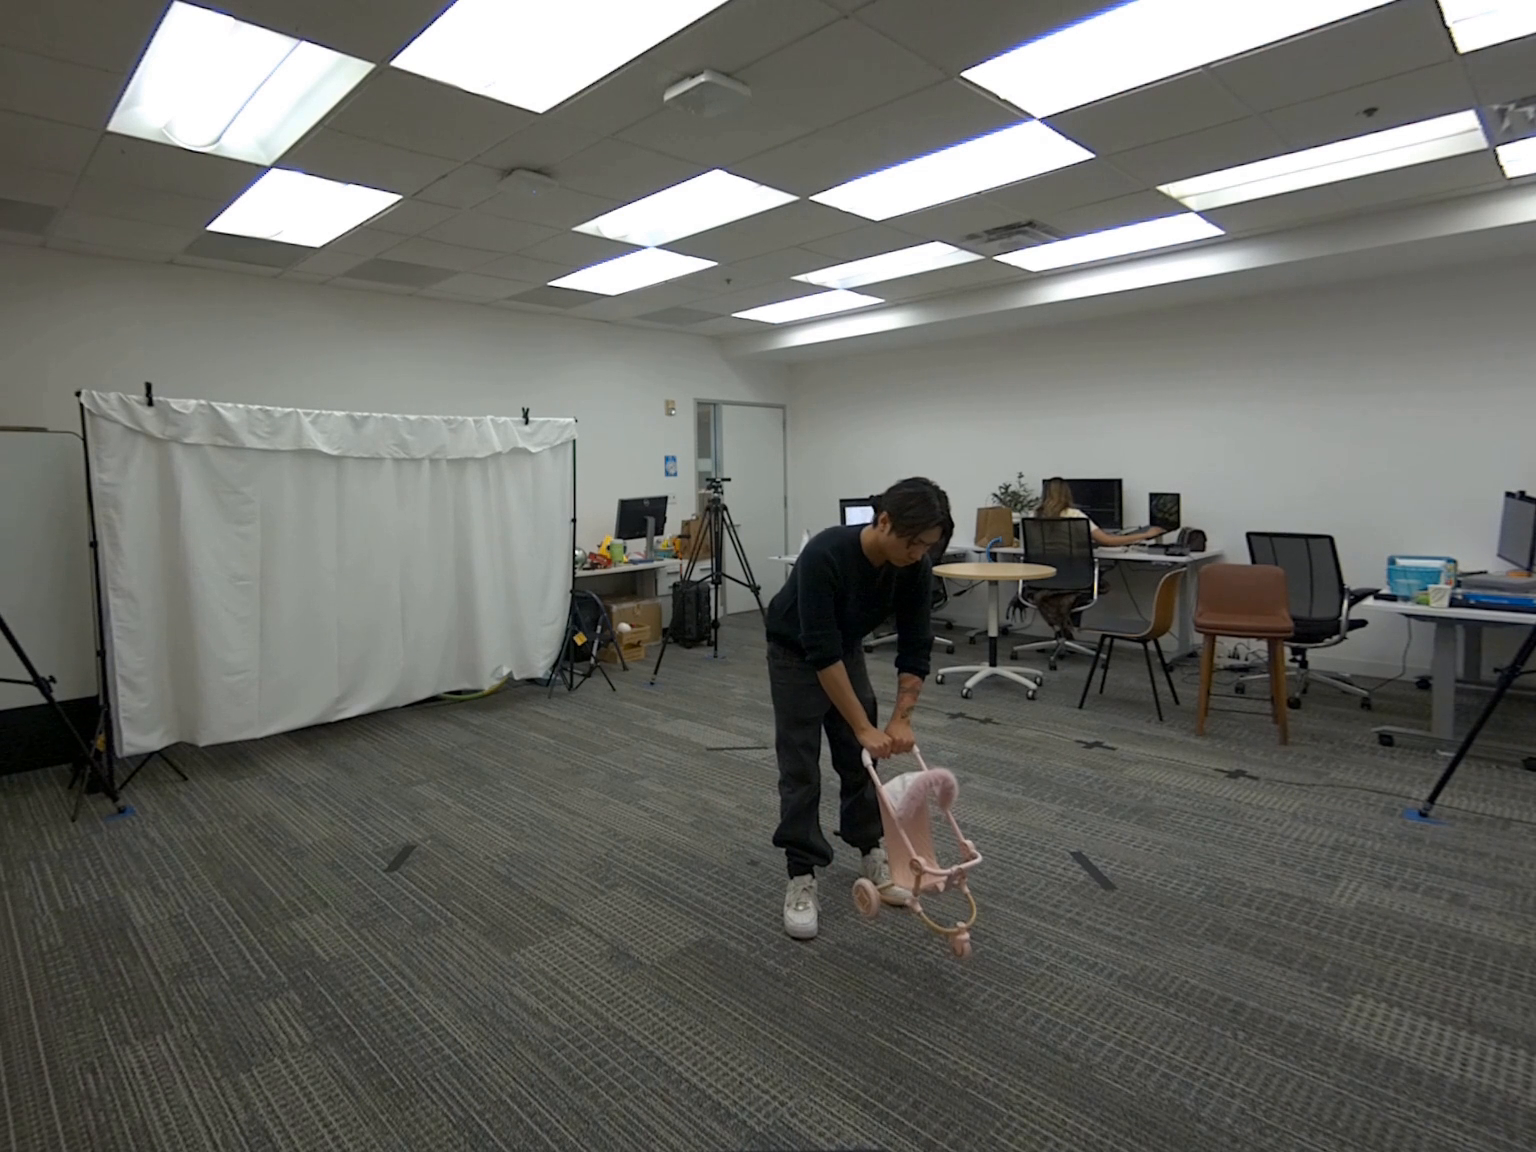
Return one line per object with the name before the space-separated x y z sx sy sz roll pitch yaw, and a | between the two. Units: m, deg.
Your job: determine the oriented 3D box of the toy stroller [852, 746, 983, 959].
toy stroller | 0.439 0.769 2.422 0.275 0.534 0.350 -2 3 -30
